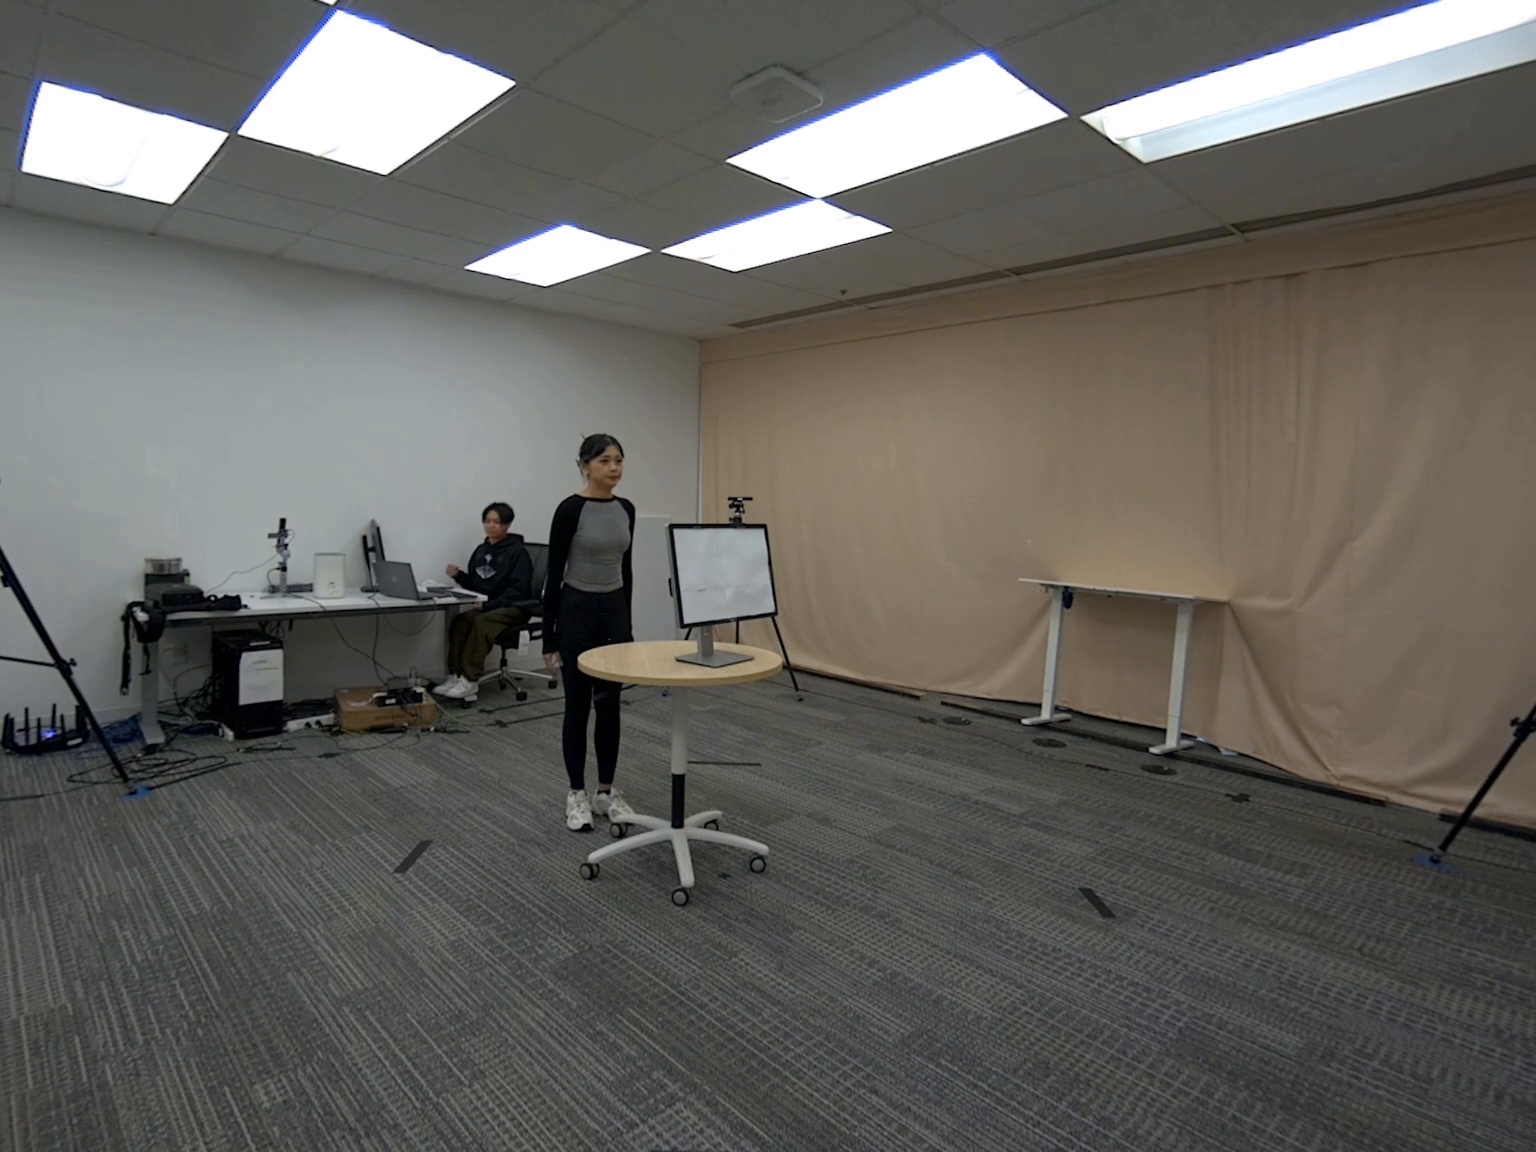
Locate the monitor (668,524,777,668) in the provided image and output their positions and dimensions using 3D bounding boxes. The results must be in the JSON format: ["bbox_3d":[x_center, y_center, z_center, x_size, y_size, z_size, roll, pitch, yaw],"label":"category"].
[{"bbox_3d":[-0.197,0.072,3.114,0.192,0.521,0.527,8,7,36],"label":"monitor"}]
